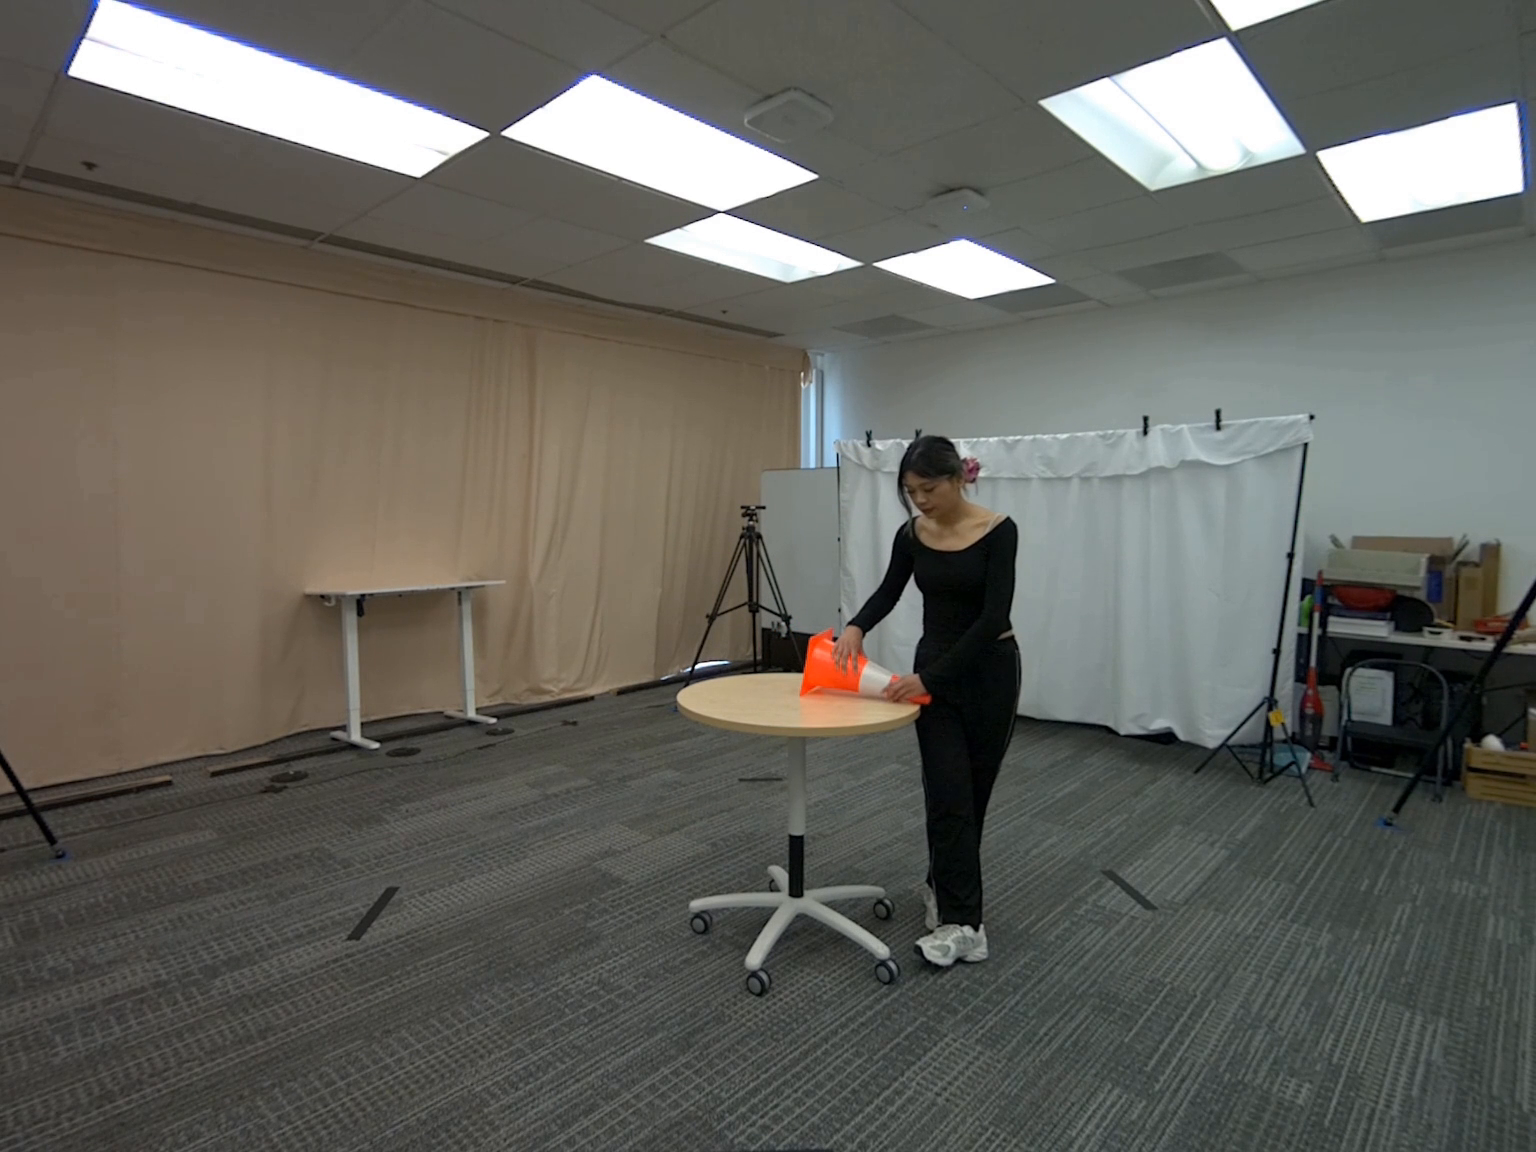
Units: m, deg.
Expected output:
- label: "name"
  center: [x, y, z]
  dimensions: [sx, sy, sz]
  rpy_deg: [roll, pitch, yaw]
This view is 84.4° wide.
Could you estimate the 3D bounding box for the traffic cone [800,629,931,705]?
- label: "traffic cone"
  center: [0.332, 0.335, 2.652]
  dimensions: [0.395, 0.204, 0.198]
  rpy_deg: [17, 14, 27]
